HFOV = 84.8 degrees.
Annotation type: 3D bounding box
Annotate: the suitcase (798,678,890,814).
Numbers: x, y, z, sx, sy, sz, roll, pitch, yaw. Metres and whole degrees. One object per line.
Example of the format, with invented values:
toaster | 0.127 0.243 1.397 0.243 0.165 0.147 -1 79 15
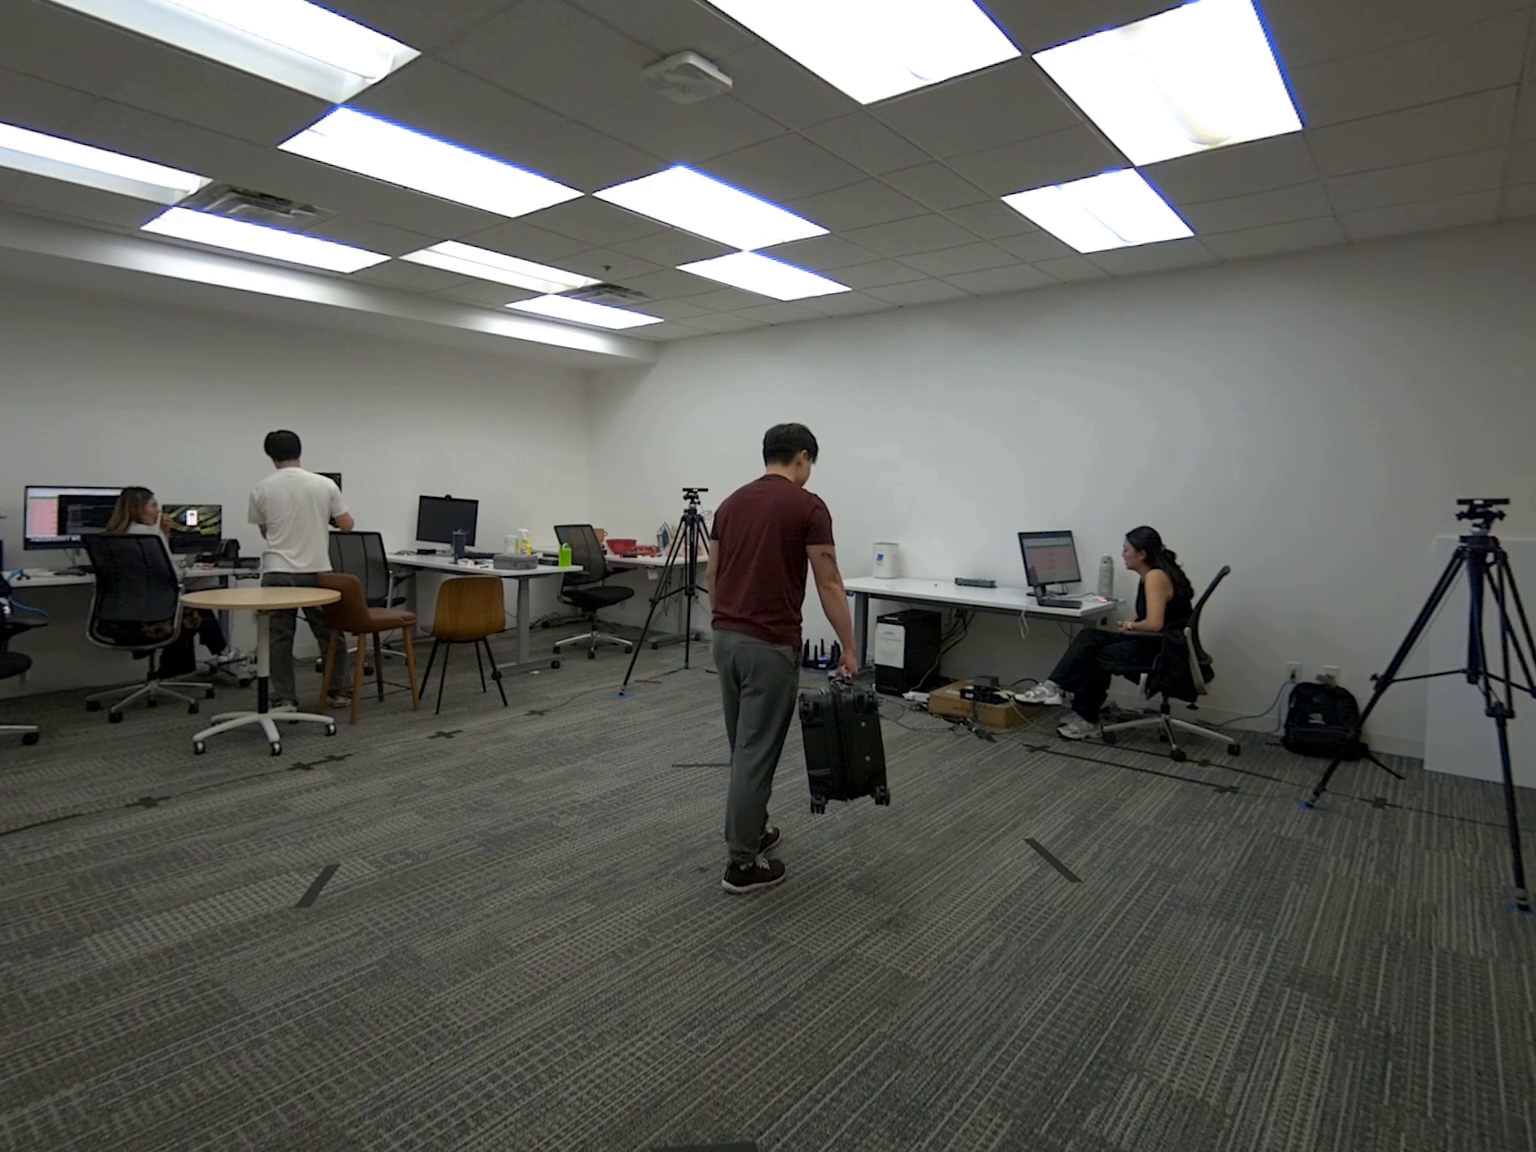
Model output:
suitcase | 0.243 0.571 3.146 0.257 0.386 0.971 -5 -4 -1
